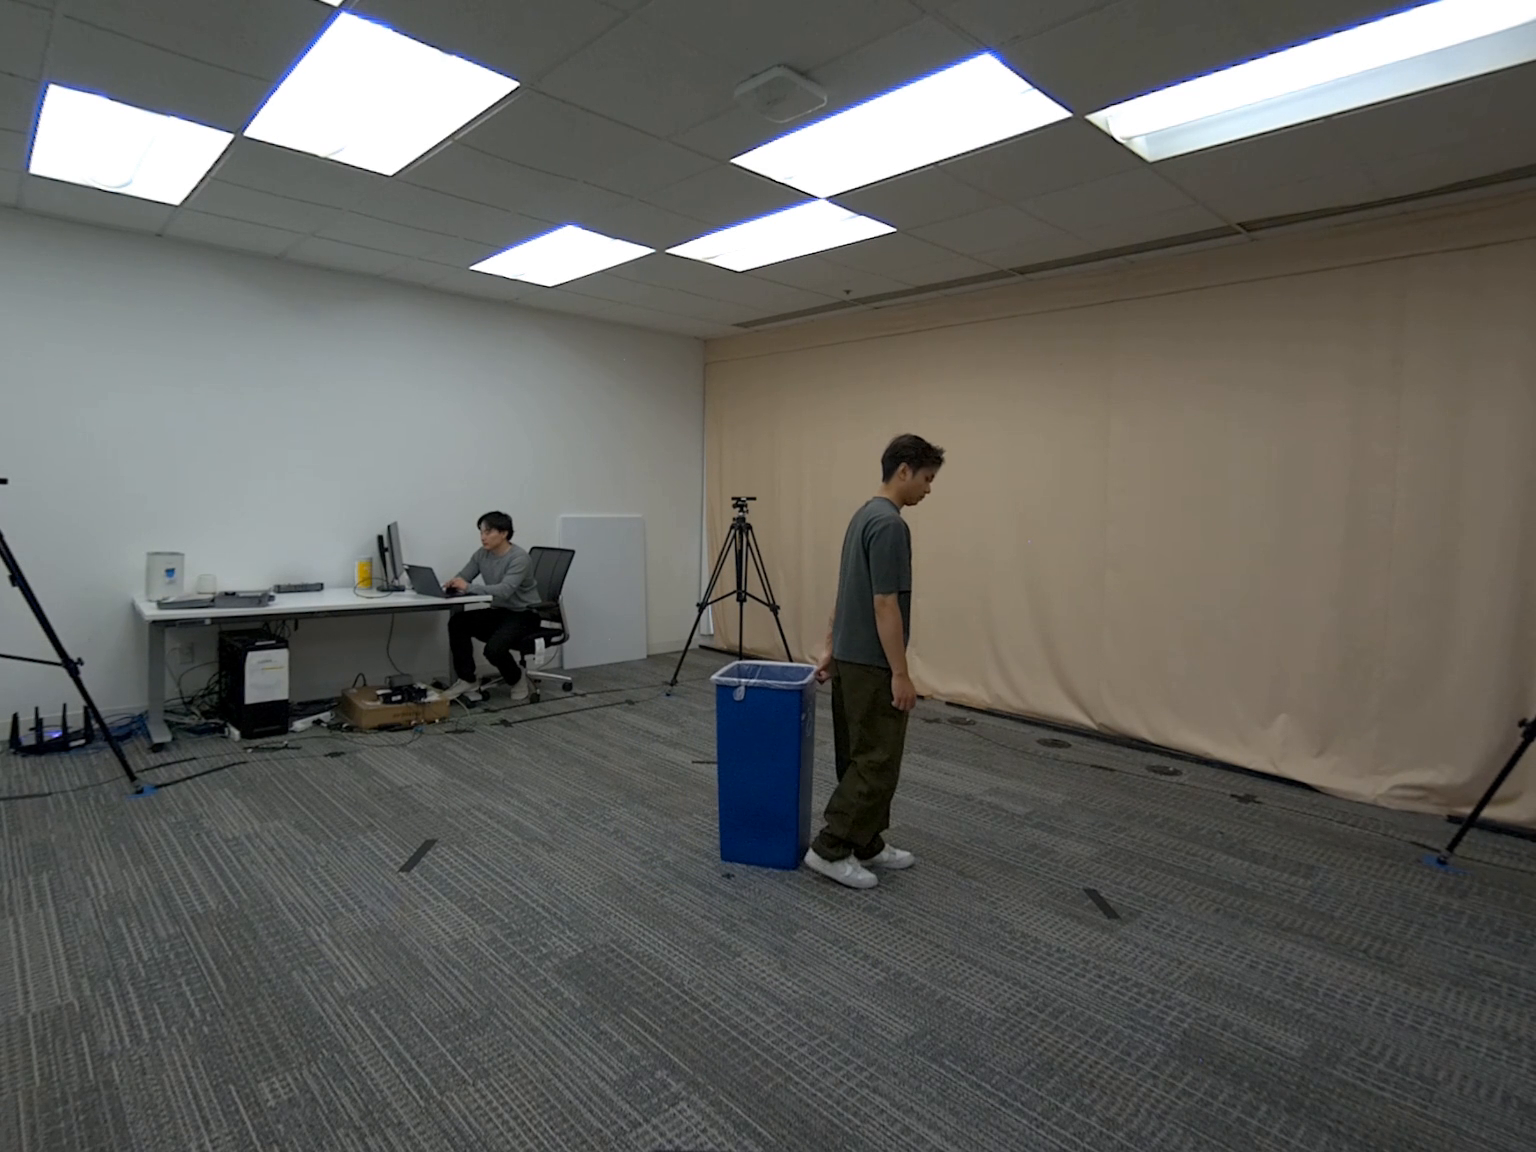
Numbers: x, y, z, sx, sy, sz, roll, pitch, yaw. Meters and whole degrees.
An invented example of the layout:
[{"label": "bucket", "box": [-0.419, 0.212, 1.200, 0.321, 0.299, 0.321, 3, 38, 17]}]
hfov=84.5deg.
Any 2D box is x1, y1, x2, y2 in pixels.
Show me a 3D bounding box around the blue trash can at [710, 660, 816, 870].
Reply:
[{"label": "blue trash can", "box": [-0.014, 0.728, 3.324, 0.383, 0.712, 0.370, 1, 4, 15]}]
